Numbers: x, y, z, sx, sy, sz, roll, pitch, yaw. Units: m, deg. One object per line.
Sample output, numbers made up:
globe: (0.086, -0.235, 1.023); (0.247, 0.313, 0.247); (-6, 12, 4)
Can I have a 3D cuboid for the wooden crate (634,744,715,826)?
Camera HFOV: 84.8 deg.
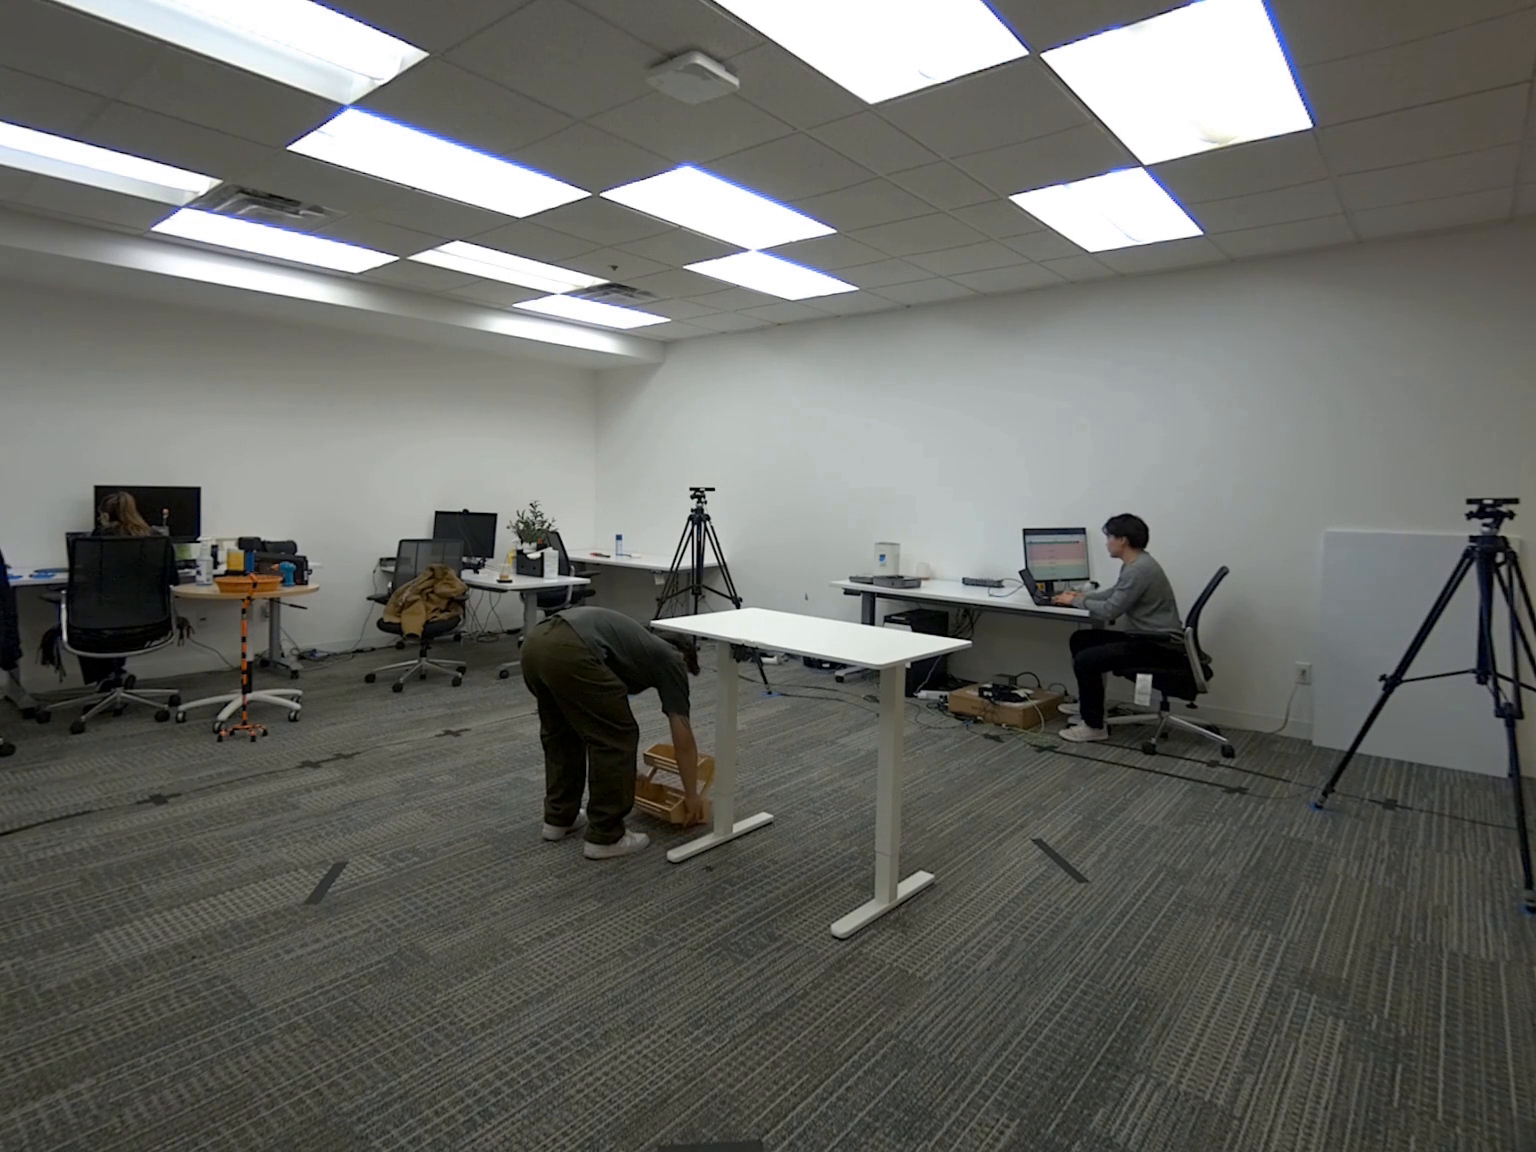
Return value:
wooden crate: (-0.412, 0.863, 3.585); (0.335, 0.275, 0.290); (6, -9, 38)
